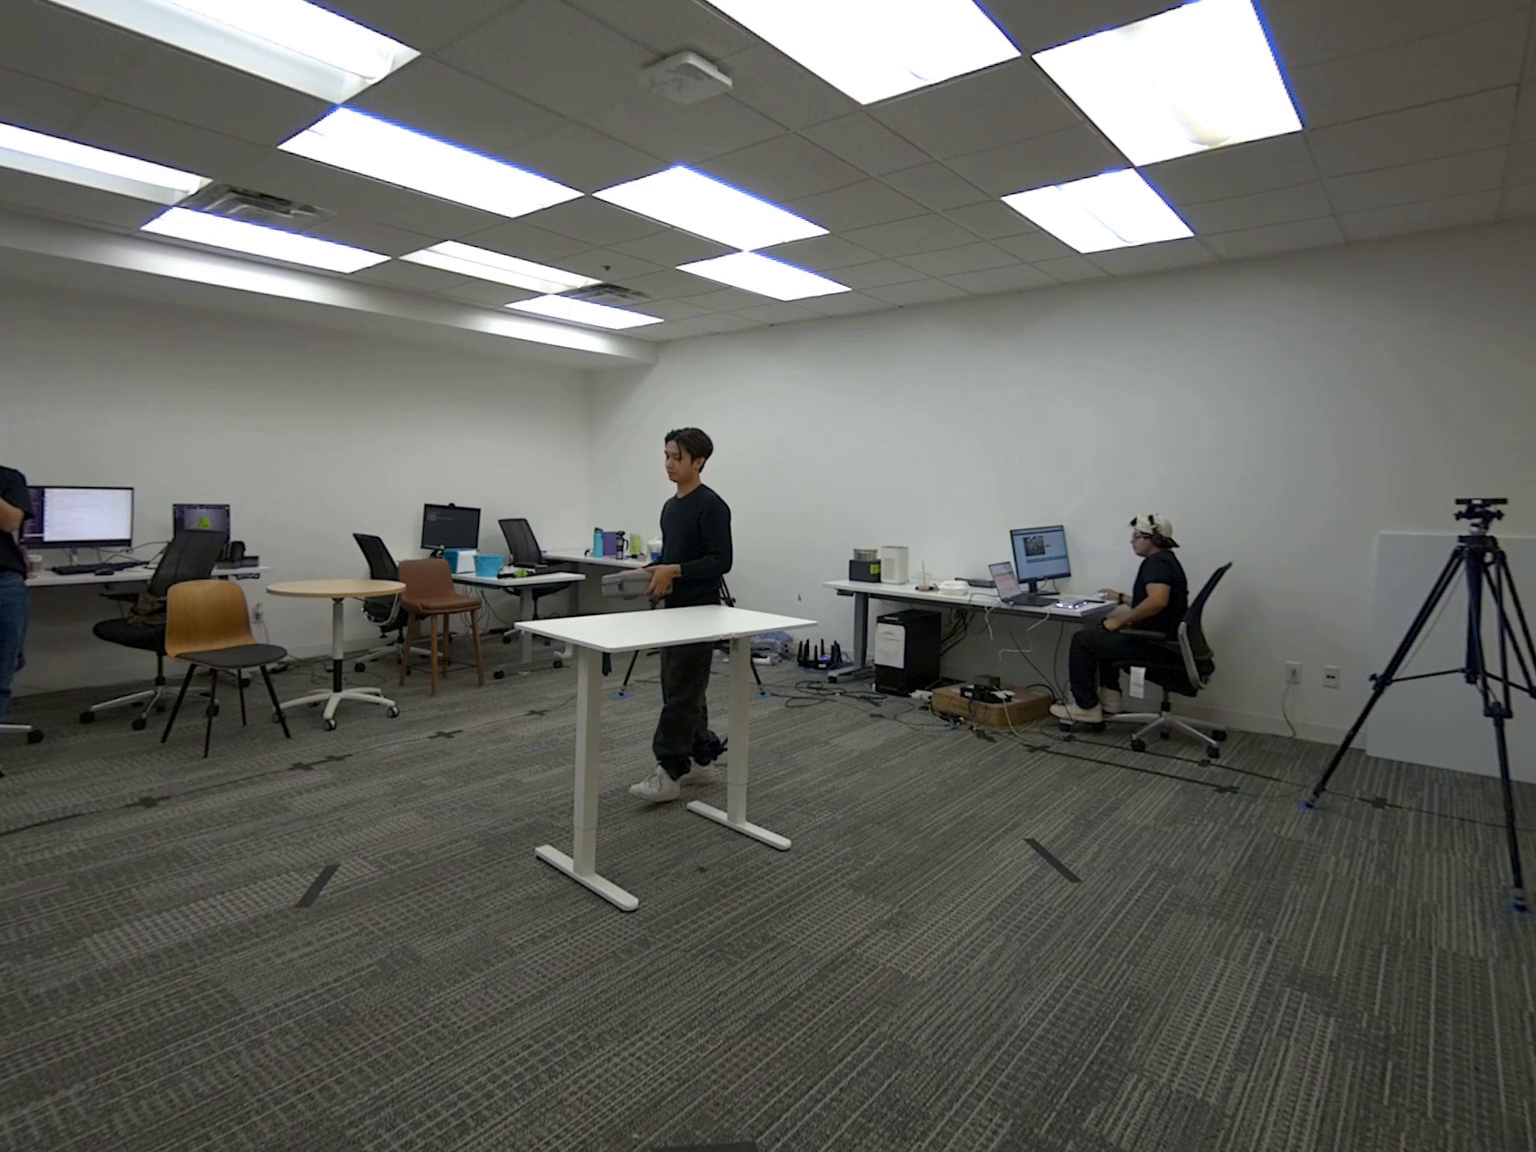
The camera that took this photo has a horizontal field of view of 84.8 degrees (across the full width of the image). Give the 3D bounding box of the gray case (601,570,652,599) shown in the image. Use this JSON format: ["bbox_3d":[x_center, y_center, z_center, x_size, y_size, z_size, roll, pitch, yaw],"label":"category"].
[{"bbox_3d":[-0.611,0.035,3.847,0.253,0.105,0.263,-2,-3,-33],"label":"gray case"}]
